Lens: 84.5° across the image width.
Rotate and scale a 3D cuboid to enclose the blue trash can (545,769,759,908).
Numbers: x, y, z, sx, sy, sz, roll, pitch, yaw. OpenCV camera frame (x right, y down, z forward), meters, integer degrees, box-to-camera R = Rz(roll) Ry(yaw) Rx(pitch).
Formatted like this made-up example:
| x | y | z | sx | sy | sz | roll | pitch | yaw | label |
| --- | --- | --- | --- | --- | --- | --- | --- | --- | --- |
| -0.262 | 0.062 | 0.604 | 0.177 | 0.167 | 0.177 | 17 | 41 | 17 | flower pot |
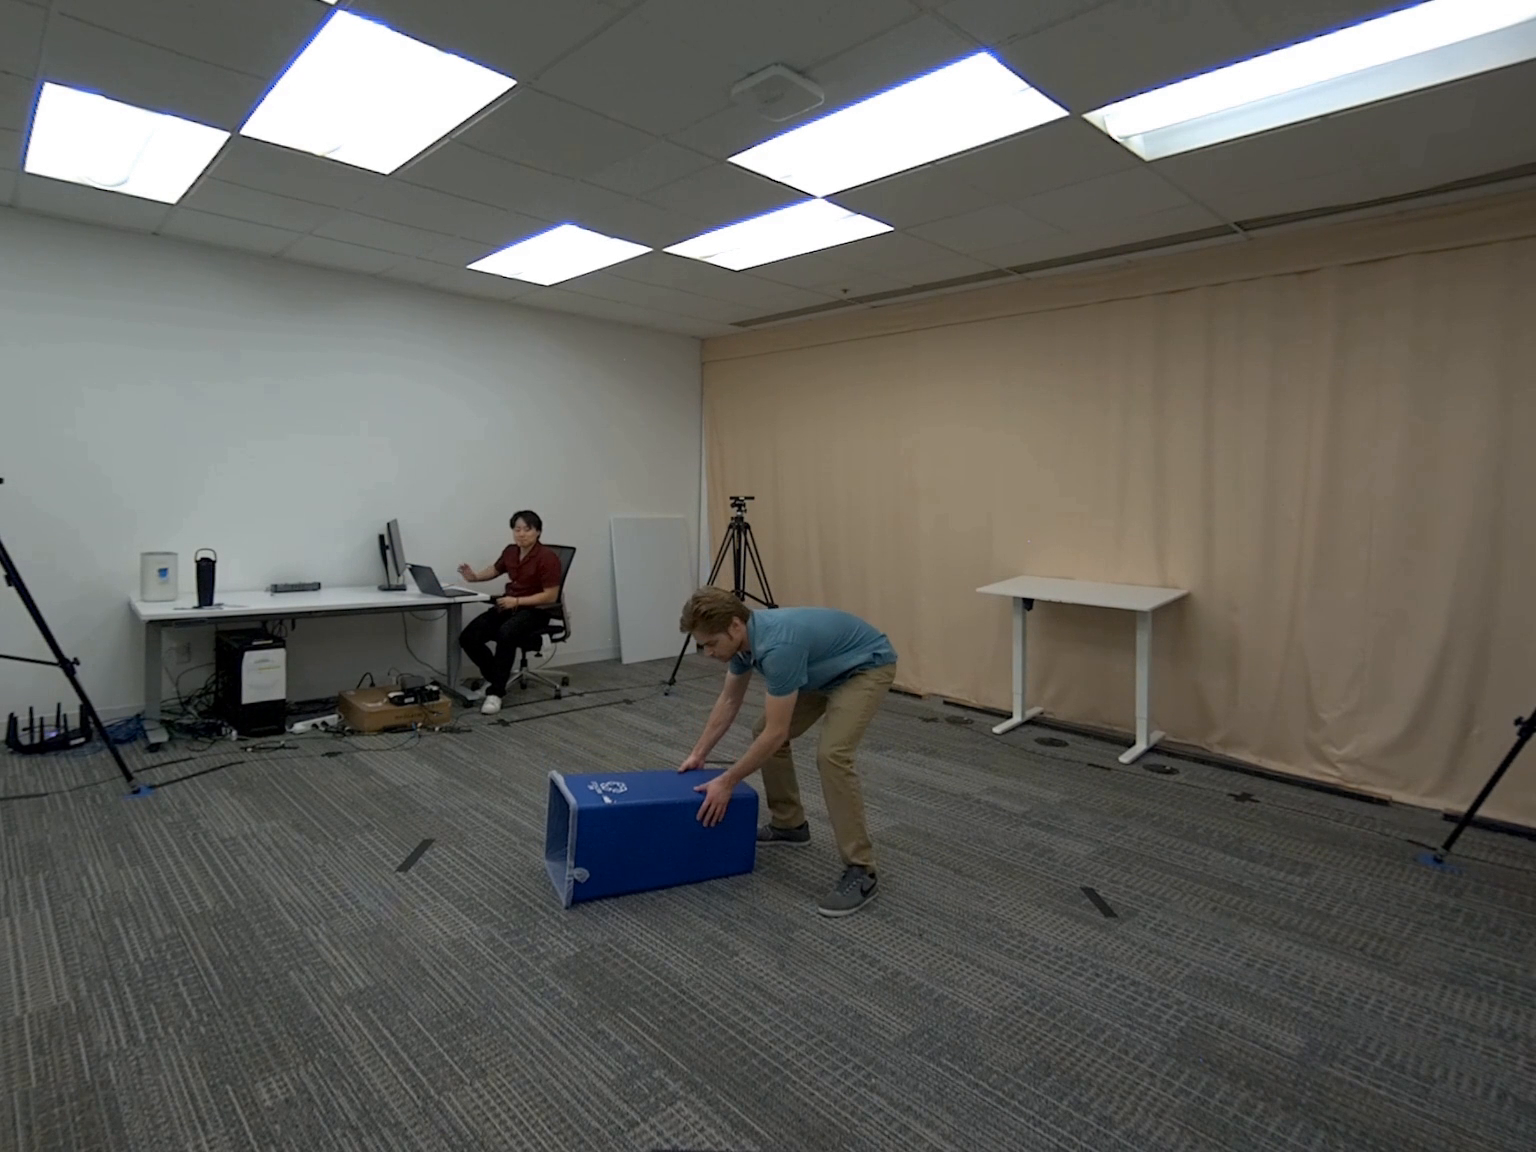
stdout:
| x | y | z | sx | sy | sz | roll | pitch | yaw | label |
| --- | --- | --- | --- | --- | --- | --- | --- | --- | --- |
| -0.433 | 0.932 | 3.098 | 0.700 | 0.377 | 0.382 | 2 | 5 | -26 | blue trash can |
